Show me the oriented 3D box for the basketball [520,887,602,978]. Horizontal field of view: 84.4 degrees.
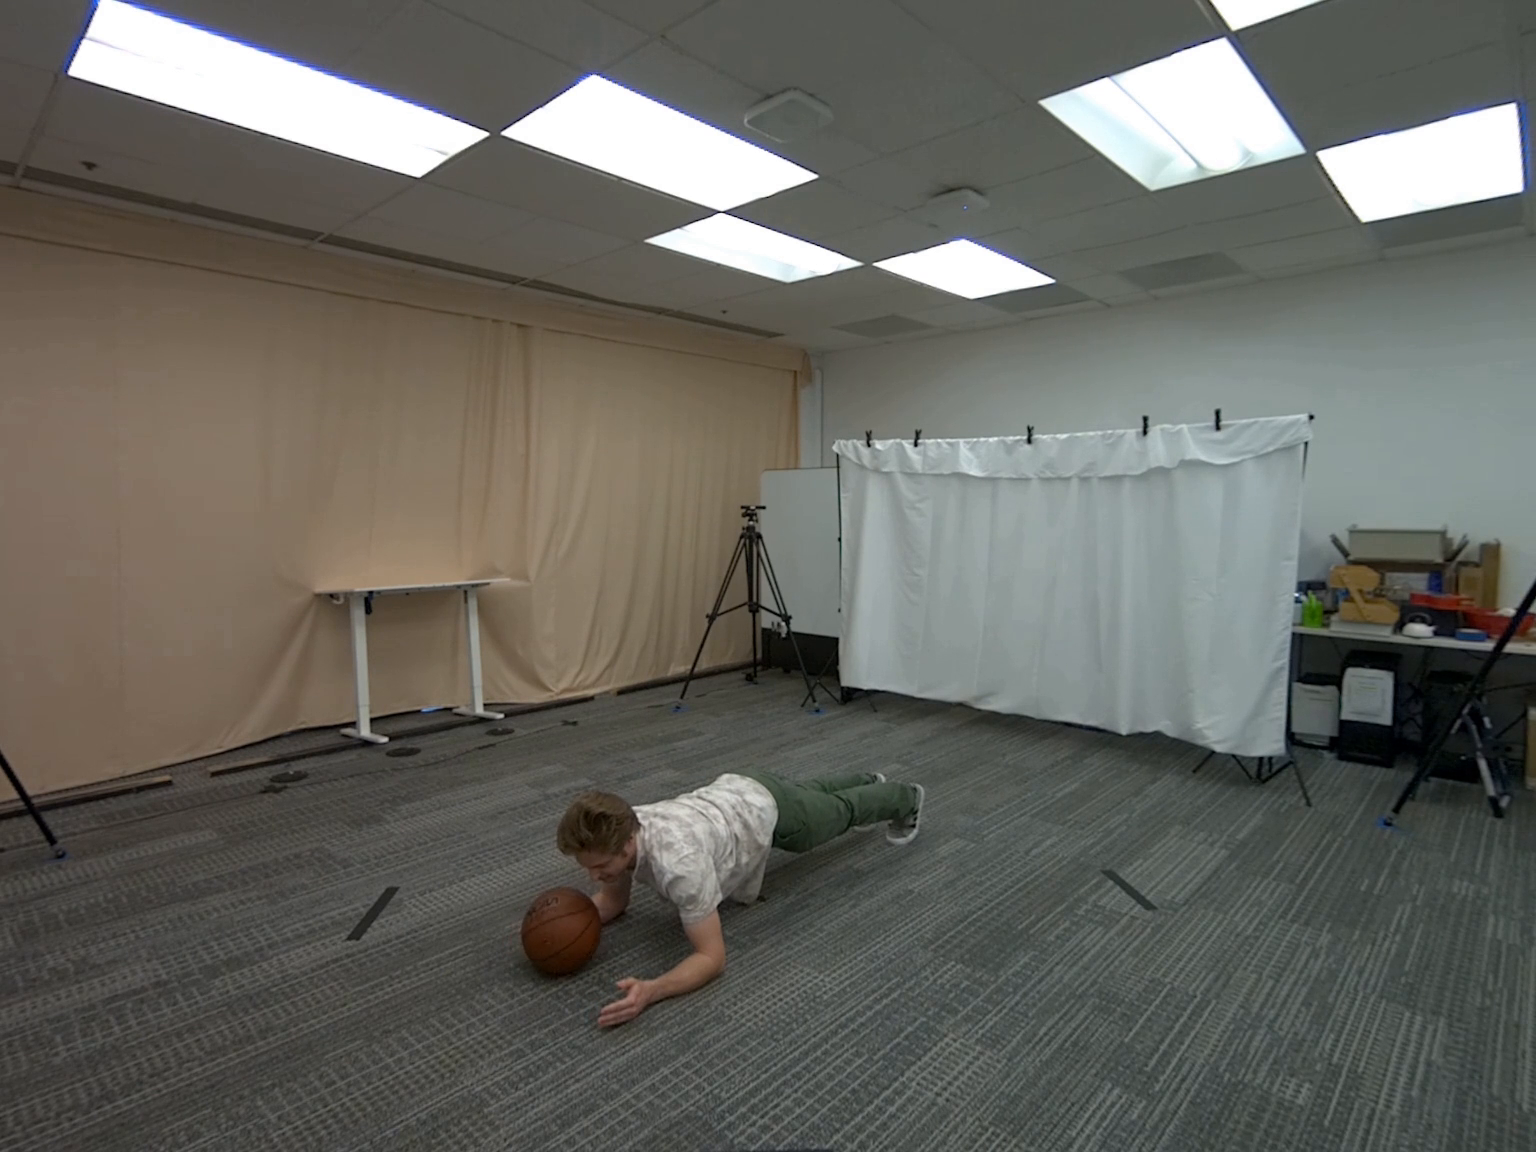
[{"bbox_3d":[-0.616,1.065,2.526,0.236,0.235,0.237,0,4,-2],"label":"basketball"}]
